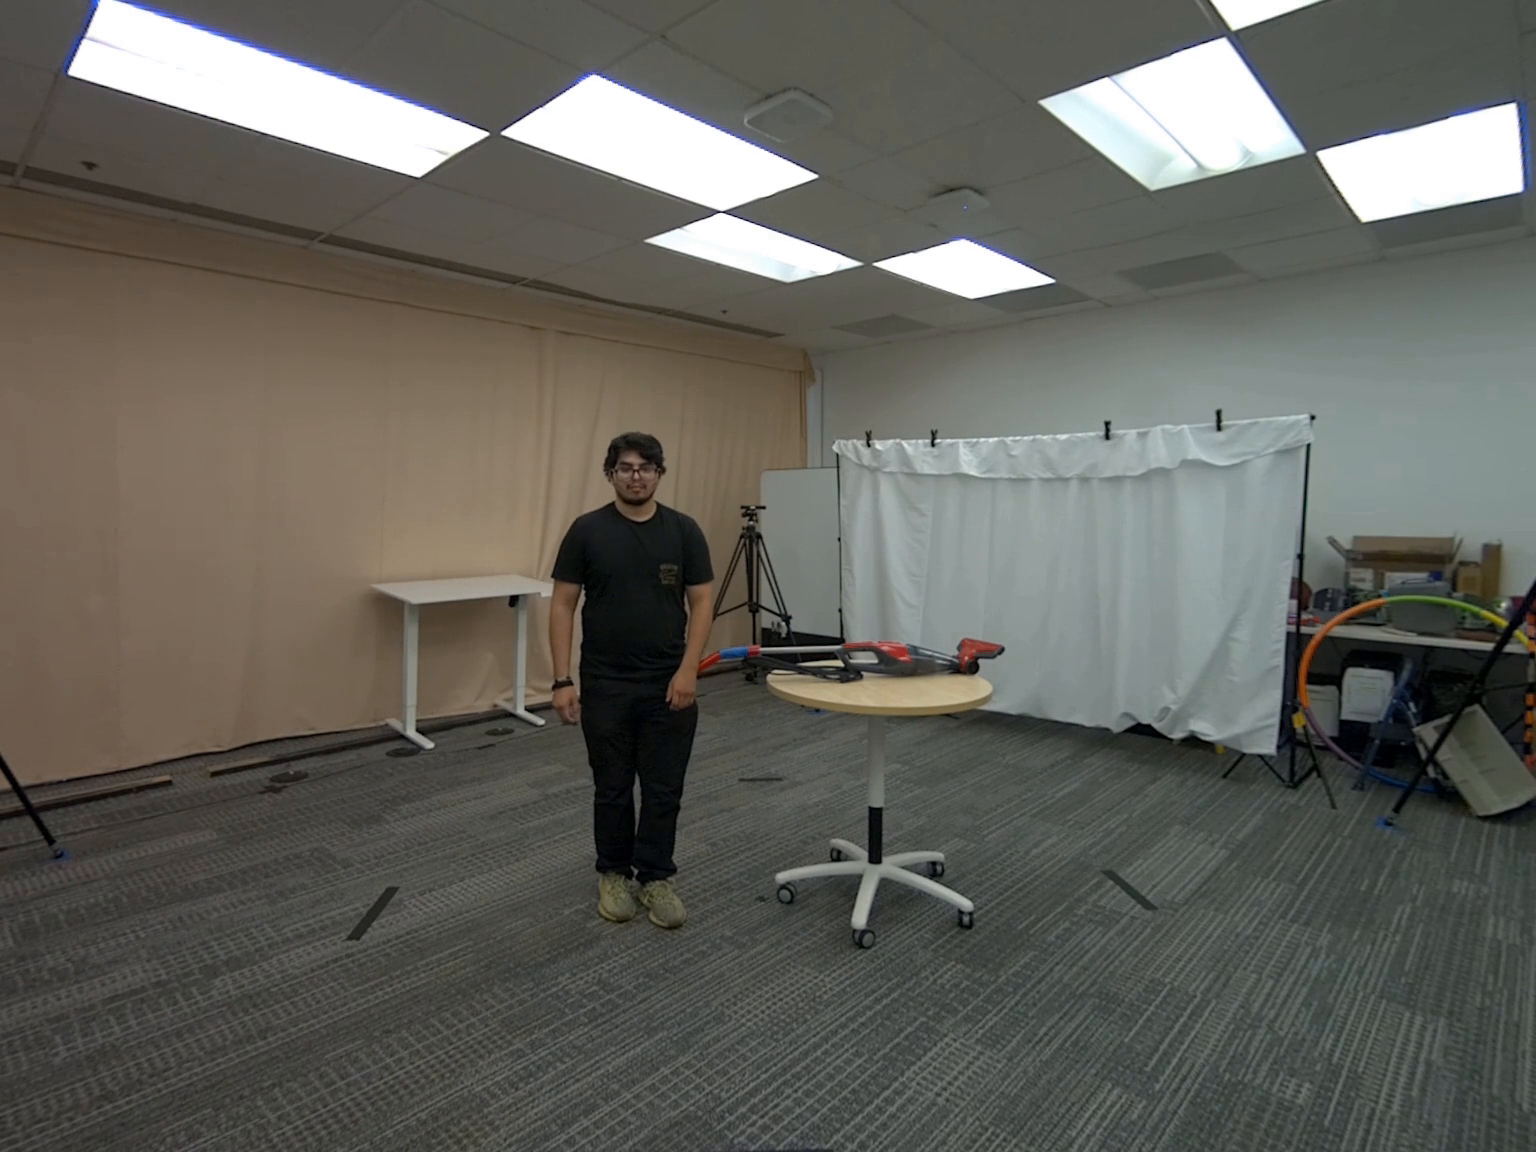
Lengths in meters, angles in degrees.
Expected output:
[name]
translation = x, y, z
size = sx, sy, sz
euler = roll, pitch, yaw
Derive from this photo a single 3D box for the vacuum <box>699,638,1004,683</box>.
[vacuum]
translation = 0.273, 0.310, 2.937
size = 1.032, 0.143, 0.257
euler = -2, 5, -16
